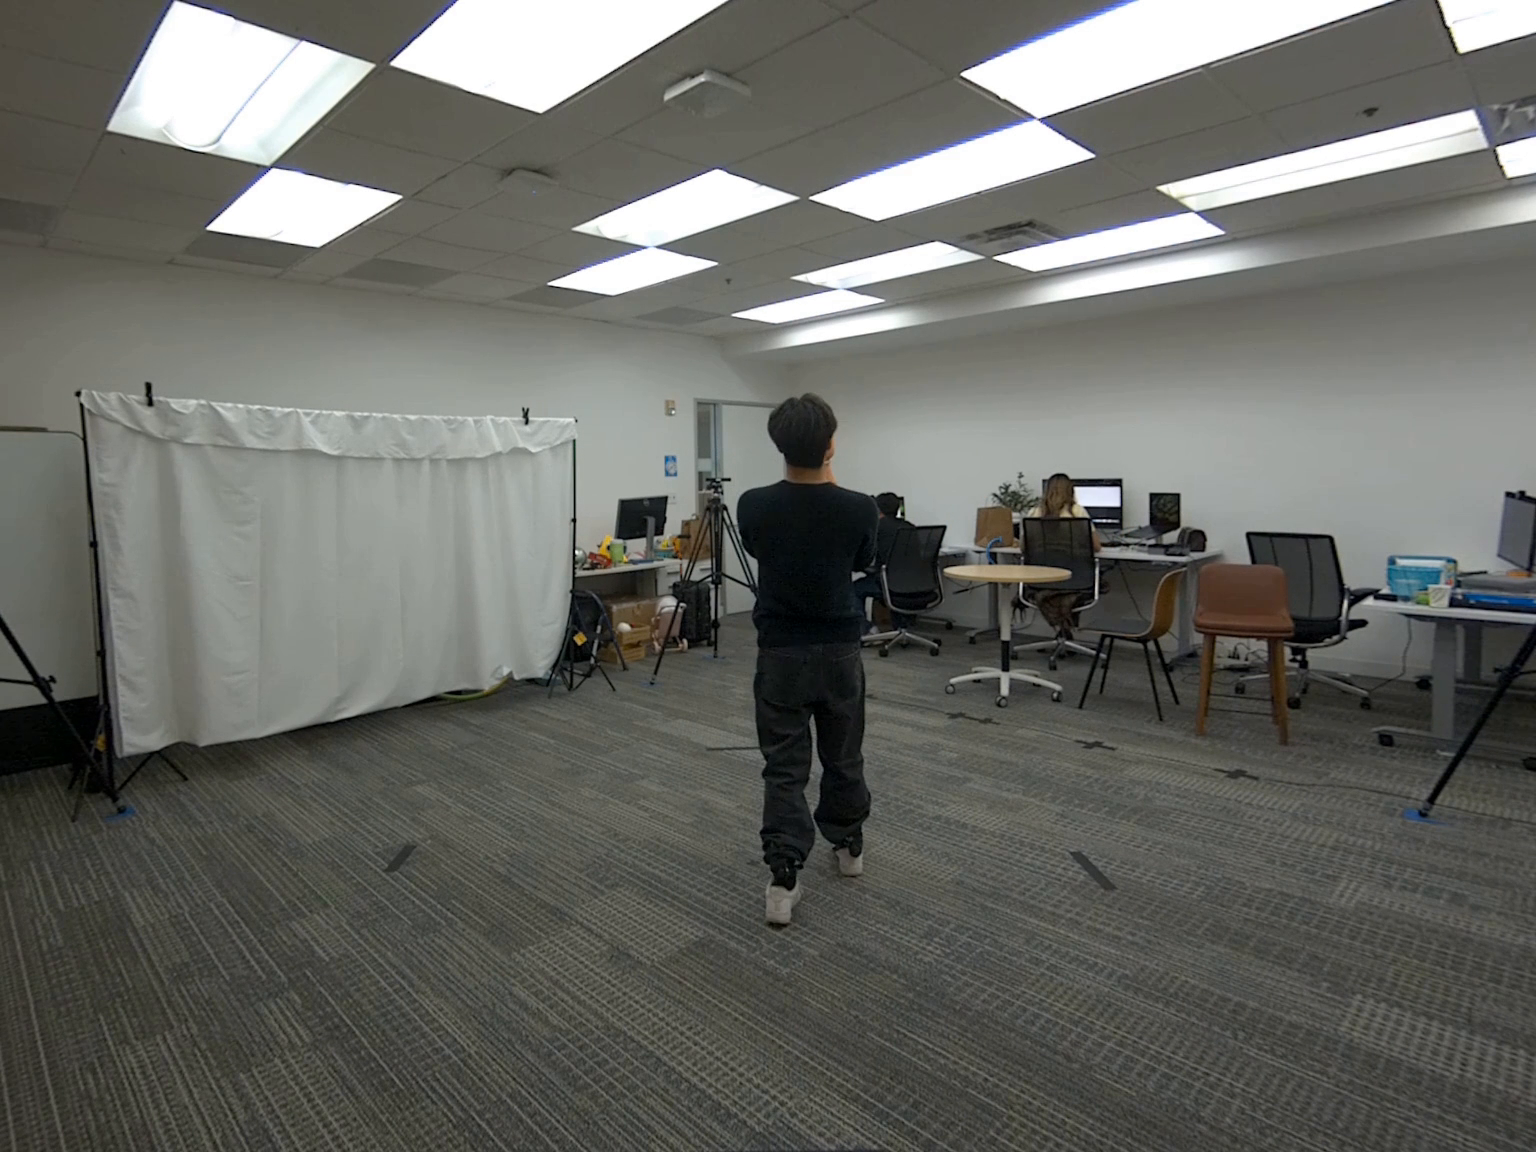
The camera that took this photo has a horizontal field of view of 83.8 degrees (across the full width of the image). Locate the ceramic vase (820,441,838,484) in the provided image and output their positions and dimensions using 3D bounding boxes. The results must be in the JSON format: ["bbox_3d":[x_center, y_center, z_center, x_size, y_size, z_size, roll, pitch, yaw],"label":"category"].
[{"bbox_3d":[0.193,-0.447,3.115,0.156,0.218,0.138,-13,10,-29],"label":"ceramic vase"}]
